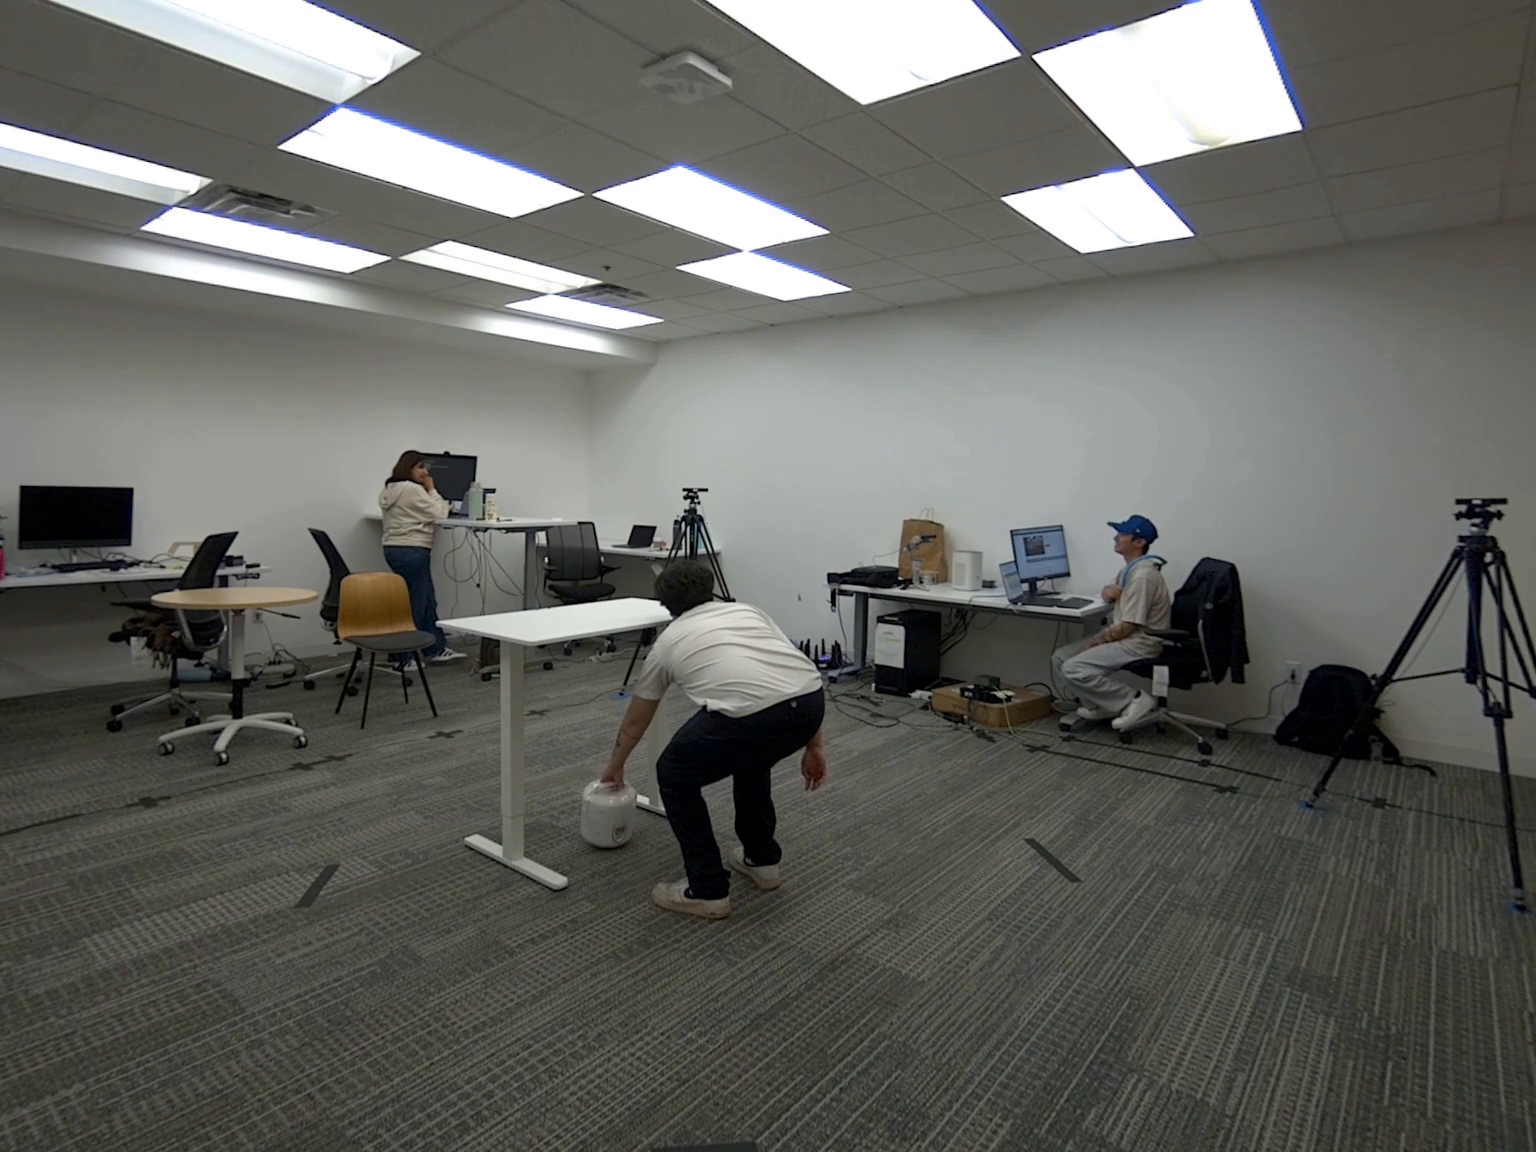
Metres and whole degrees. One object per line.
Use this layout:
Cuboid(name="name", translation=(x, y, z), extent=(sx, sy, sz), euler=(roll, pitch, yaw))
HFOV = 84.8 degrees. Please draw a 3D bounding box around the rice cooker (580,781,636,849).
Cuboid(name="rice cooker", translation=(-0.624, 0.904, 3.313), extent=(0.214, 0.230, 0.226), euler=(-3, 14, -35))
